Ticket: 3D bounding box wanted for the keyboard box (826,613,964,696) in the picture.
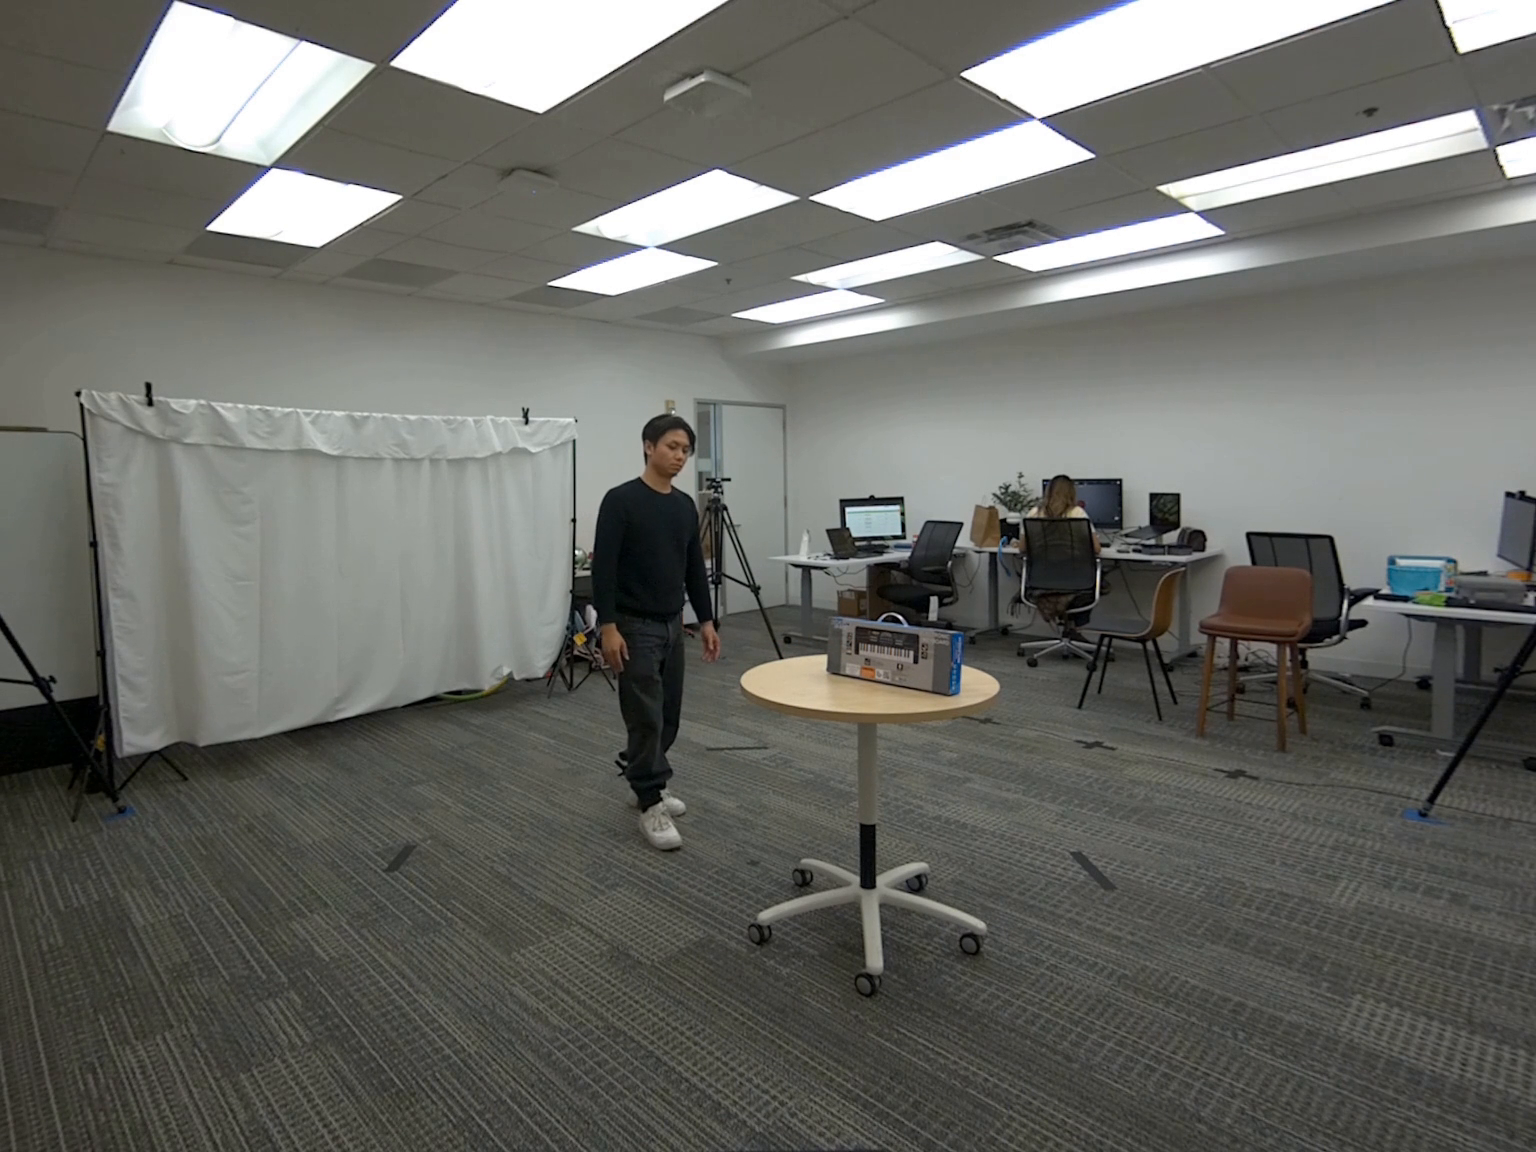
[{"bbox_3d":[0.368,0.231,2.530,0.450,0.176,0.057,5,2,45],"label":"keyboard box"}]
